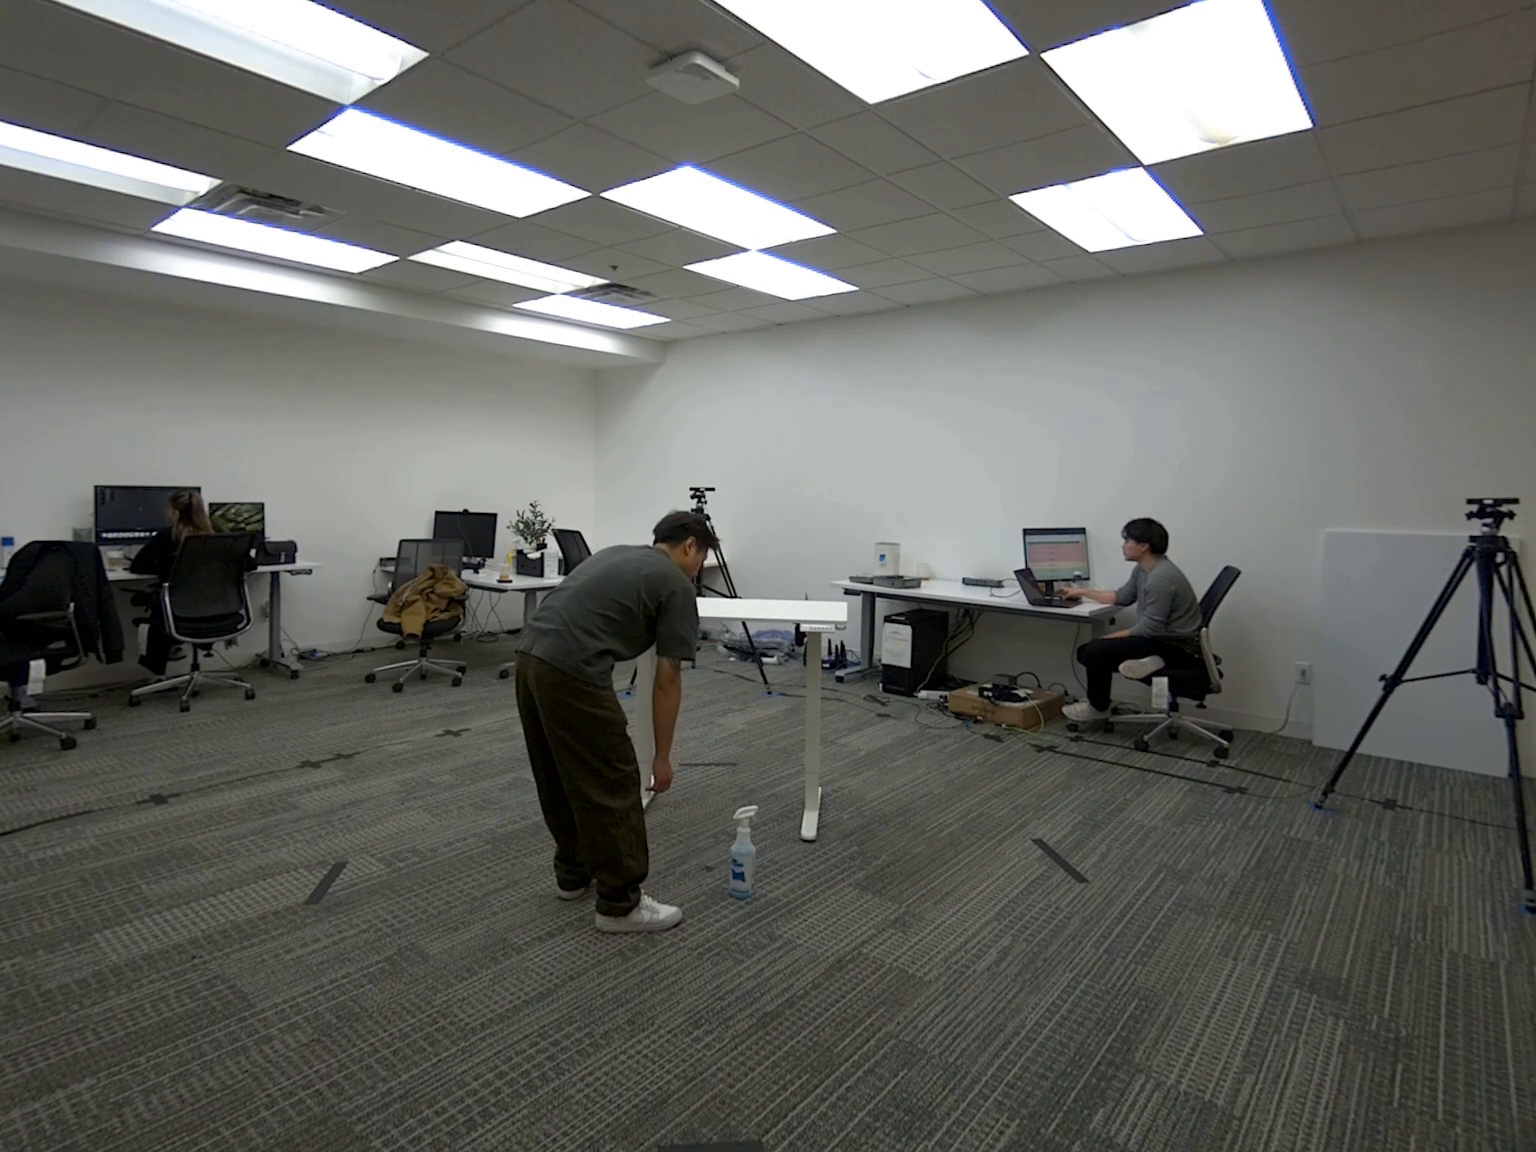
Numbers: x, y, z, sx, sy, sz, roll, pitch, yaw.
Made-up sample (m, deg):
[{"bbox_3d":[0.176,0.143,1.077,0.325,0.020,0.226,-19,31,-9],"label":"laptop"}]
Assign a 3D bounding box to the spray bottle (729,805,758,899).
[{"bbox_3d":[-0.093,0.945,2.913,0.090,0.297,0.087,3,1,-4],"label":"spray bottle"}]
